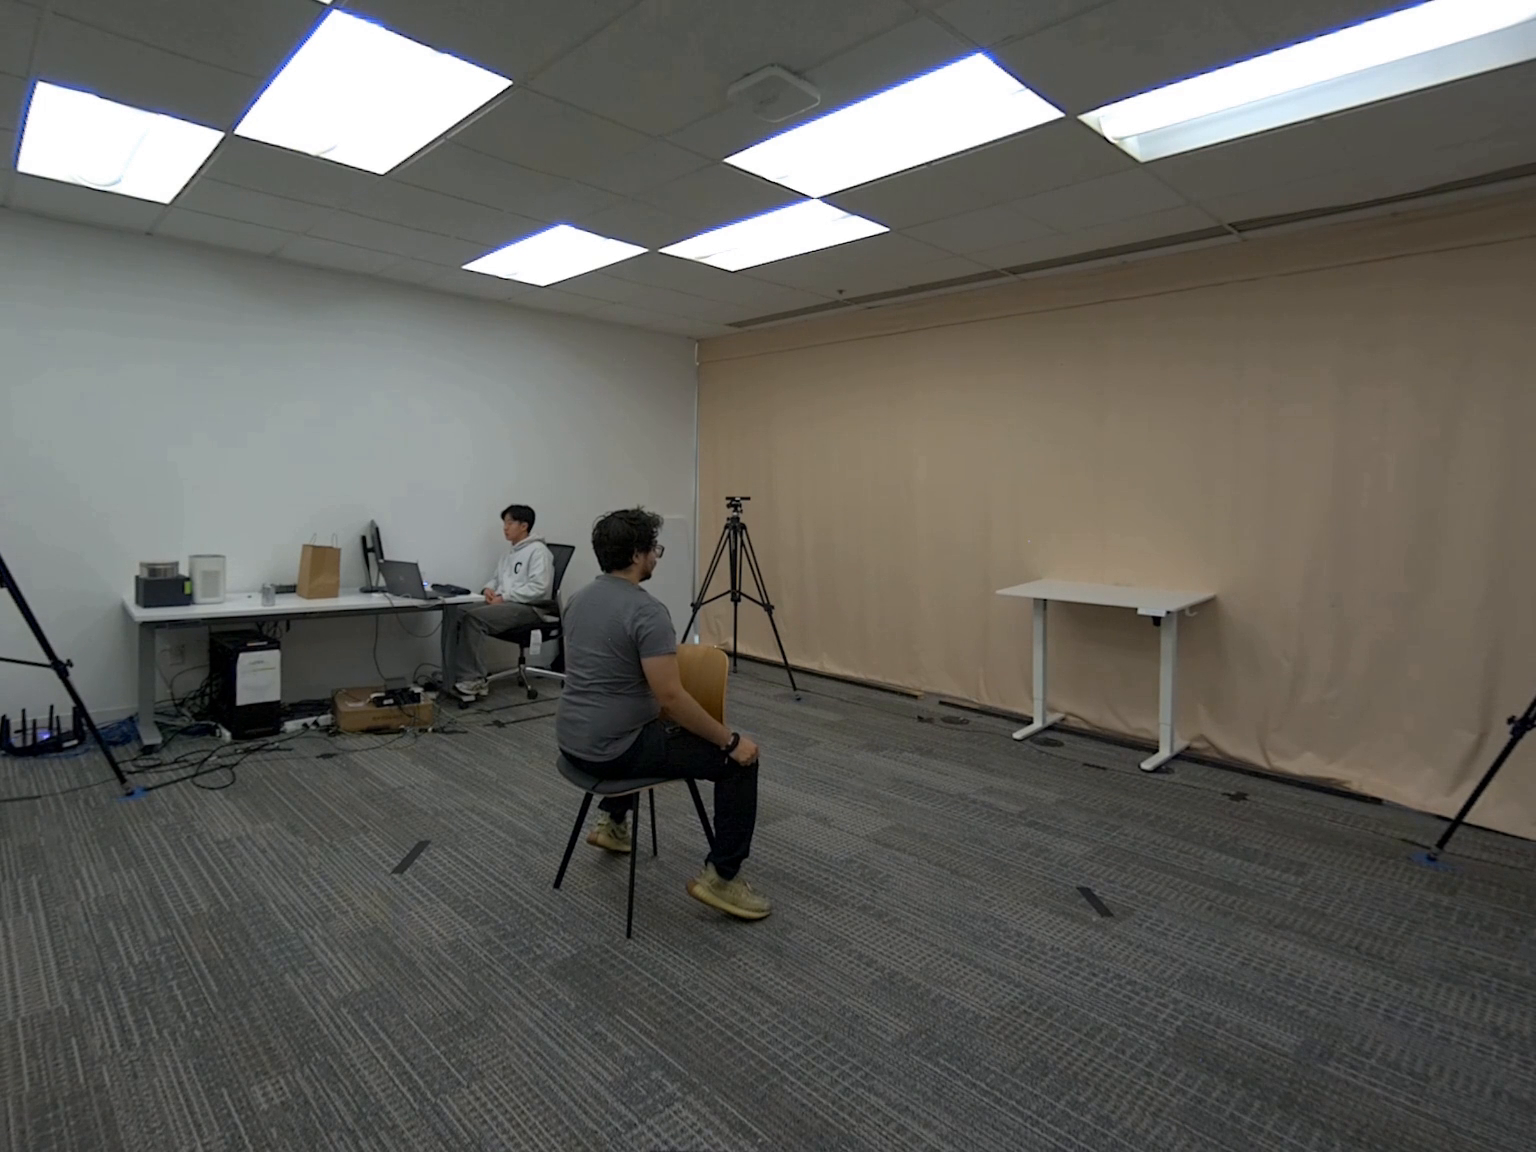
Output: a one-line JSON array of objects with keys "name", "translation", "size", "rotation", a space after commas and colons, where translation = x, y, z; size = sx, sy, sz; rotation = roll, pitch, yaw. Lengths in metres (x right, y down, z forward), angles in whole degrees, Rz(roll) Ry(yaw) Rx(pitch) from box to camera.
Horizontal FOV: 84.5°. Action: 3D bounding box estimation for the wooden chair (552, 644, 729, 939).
[{"name": "wooden chair", "translation": [-0.440, 0.696, 2.925], "size": [0.510, 0.877, 0.490], "rotation": [4, 1, -44]}]
